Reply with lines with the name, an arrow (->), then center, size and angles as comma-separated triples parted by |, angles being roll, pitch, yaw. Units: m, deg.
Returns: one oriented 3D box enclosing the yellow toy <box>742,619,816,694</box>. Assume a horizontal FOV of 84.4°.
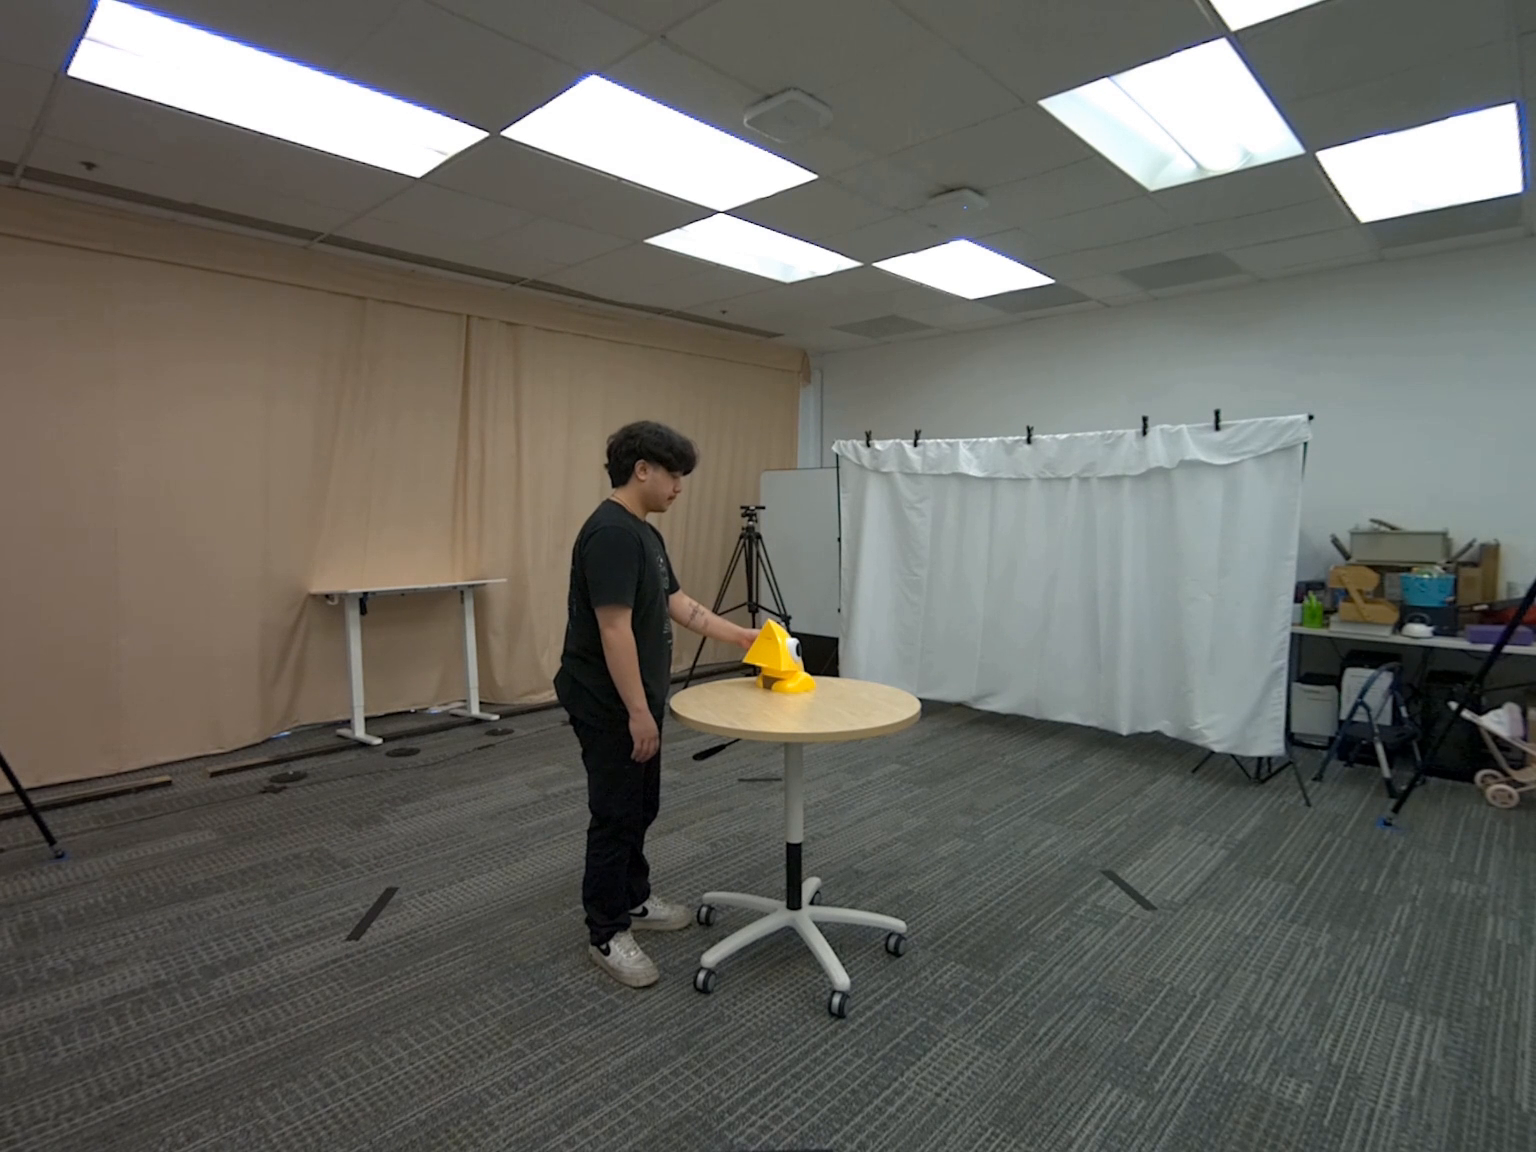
yellow toy -> 0.051, 0.257, 2.784 | 0.187, 0.230, 0.211 | -1, 2, -38
